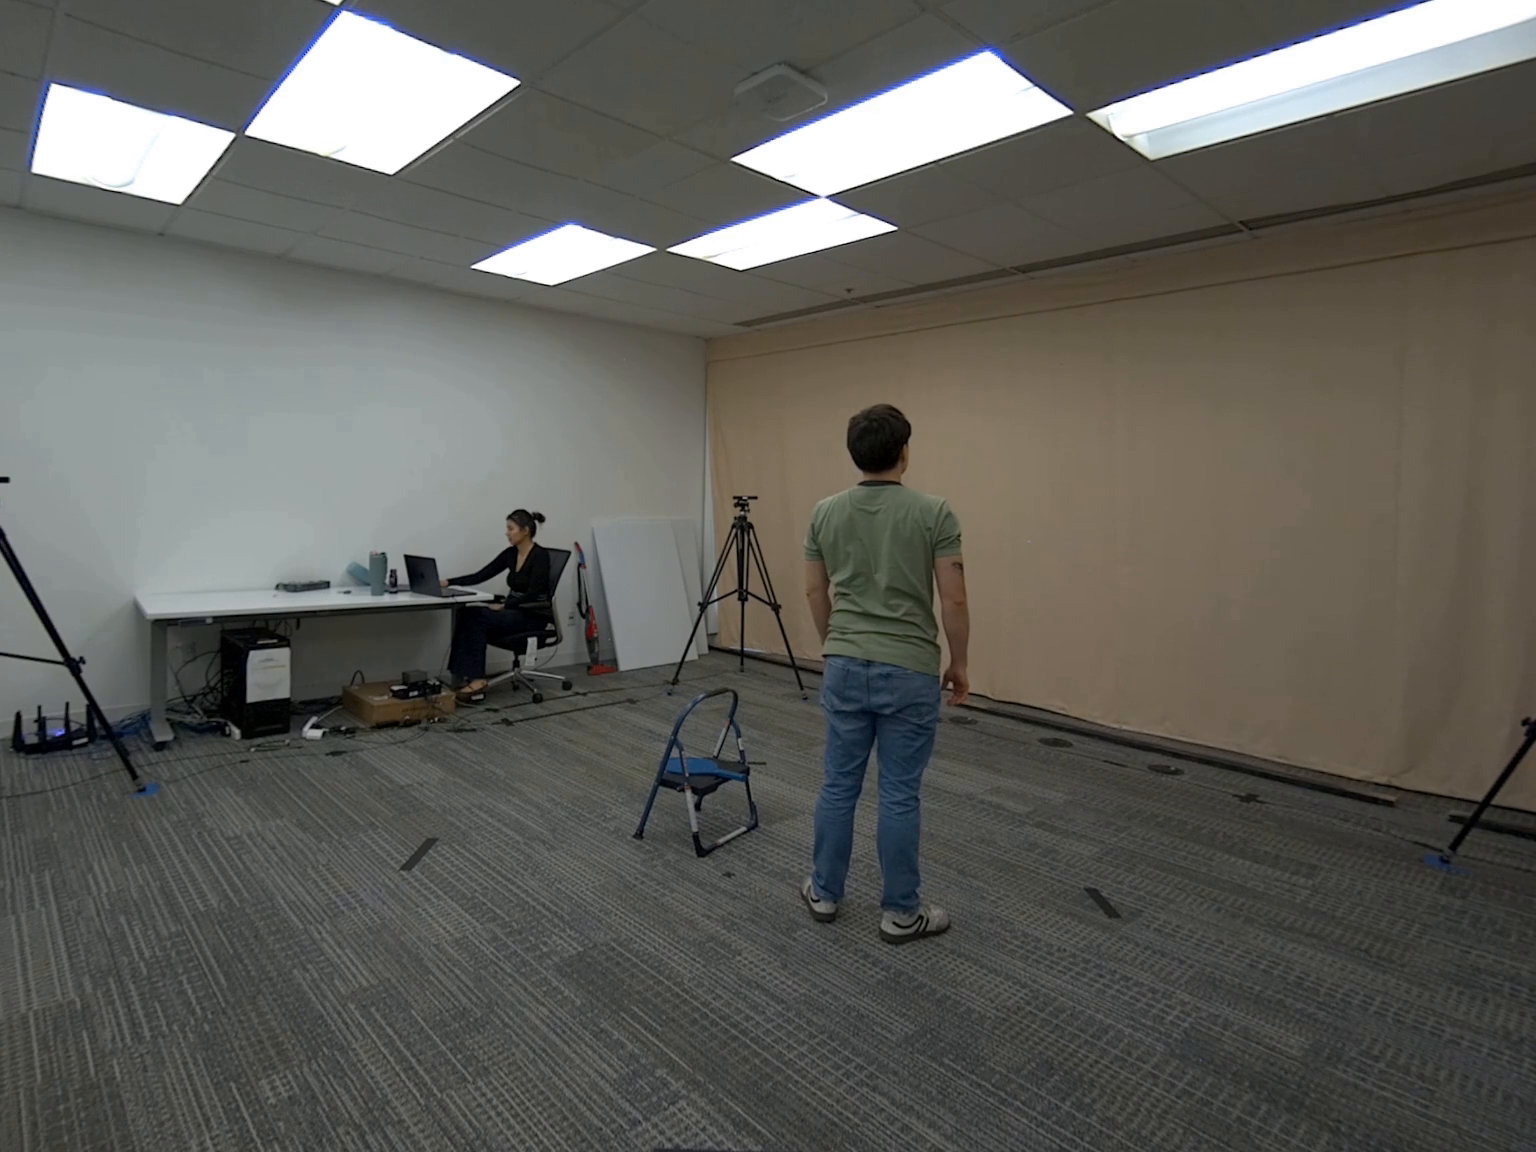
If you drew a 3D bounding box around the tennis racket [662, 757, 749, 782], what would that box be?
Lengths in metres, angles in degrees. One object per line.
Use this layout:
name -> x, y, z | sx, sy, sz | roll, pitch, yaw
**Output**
tennis racket -> -0.284, 0.797, 3.479 | 0.443, 0.032, 0.209 | 2, 4, 36
